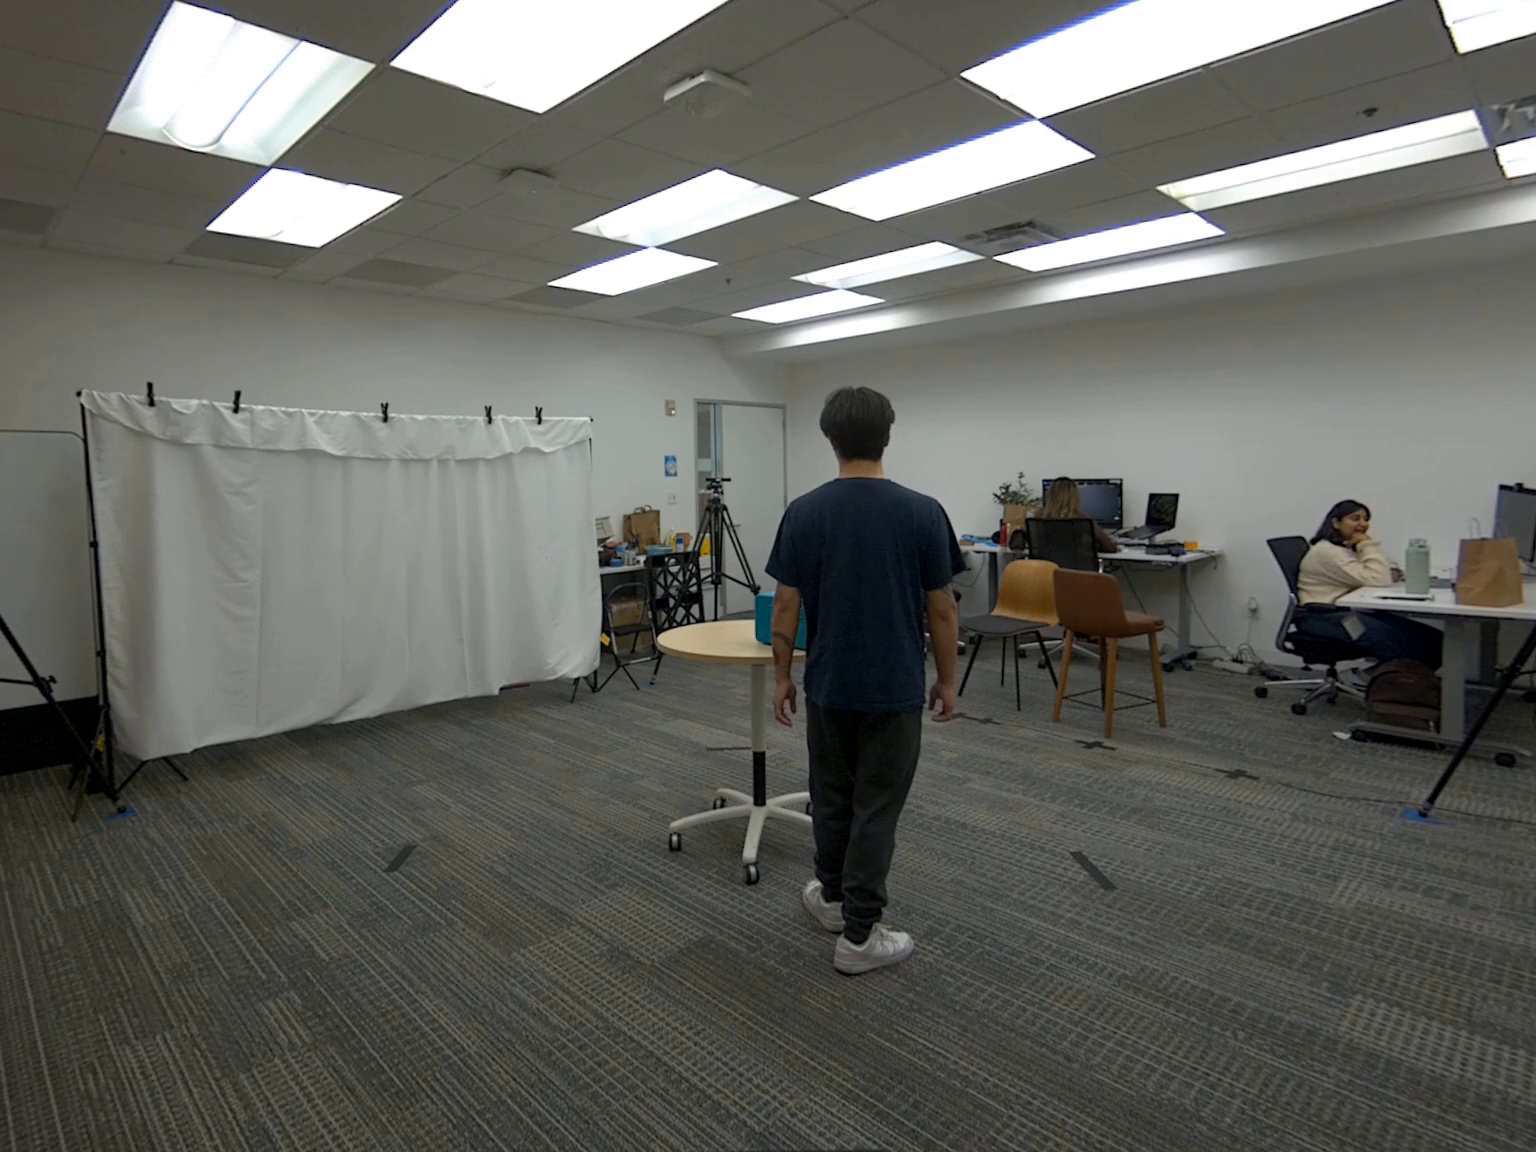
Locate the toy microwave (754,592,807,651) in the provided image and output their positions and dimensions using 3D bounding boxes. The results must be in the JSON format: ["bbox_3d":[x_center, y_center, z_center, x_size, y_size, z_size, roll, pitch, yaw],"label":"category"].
[{"bbox_3d":[0.109,0.158,3.063,0.295,0.183,0.148,4,6,41],"label":"toy microwave"}]
